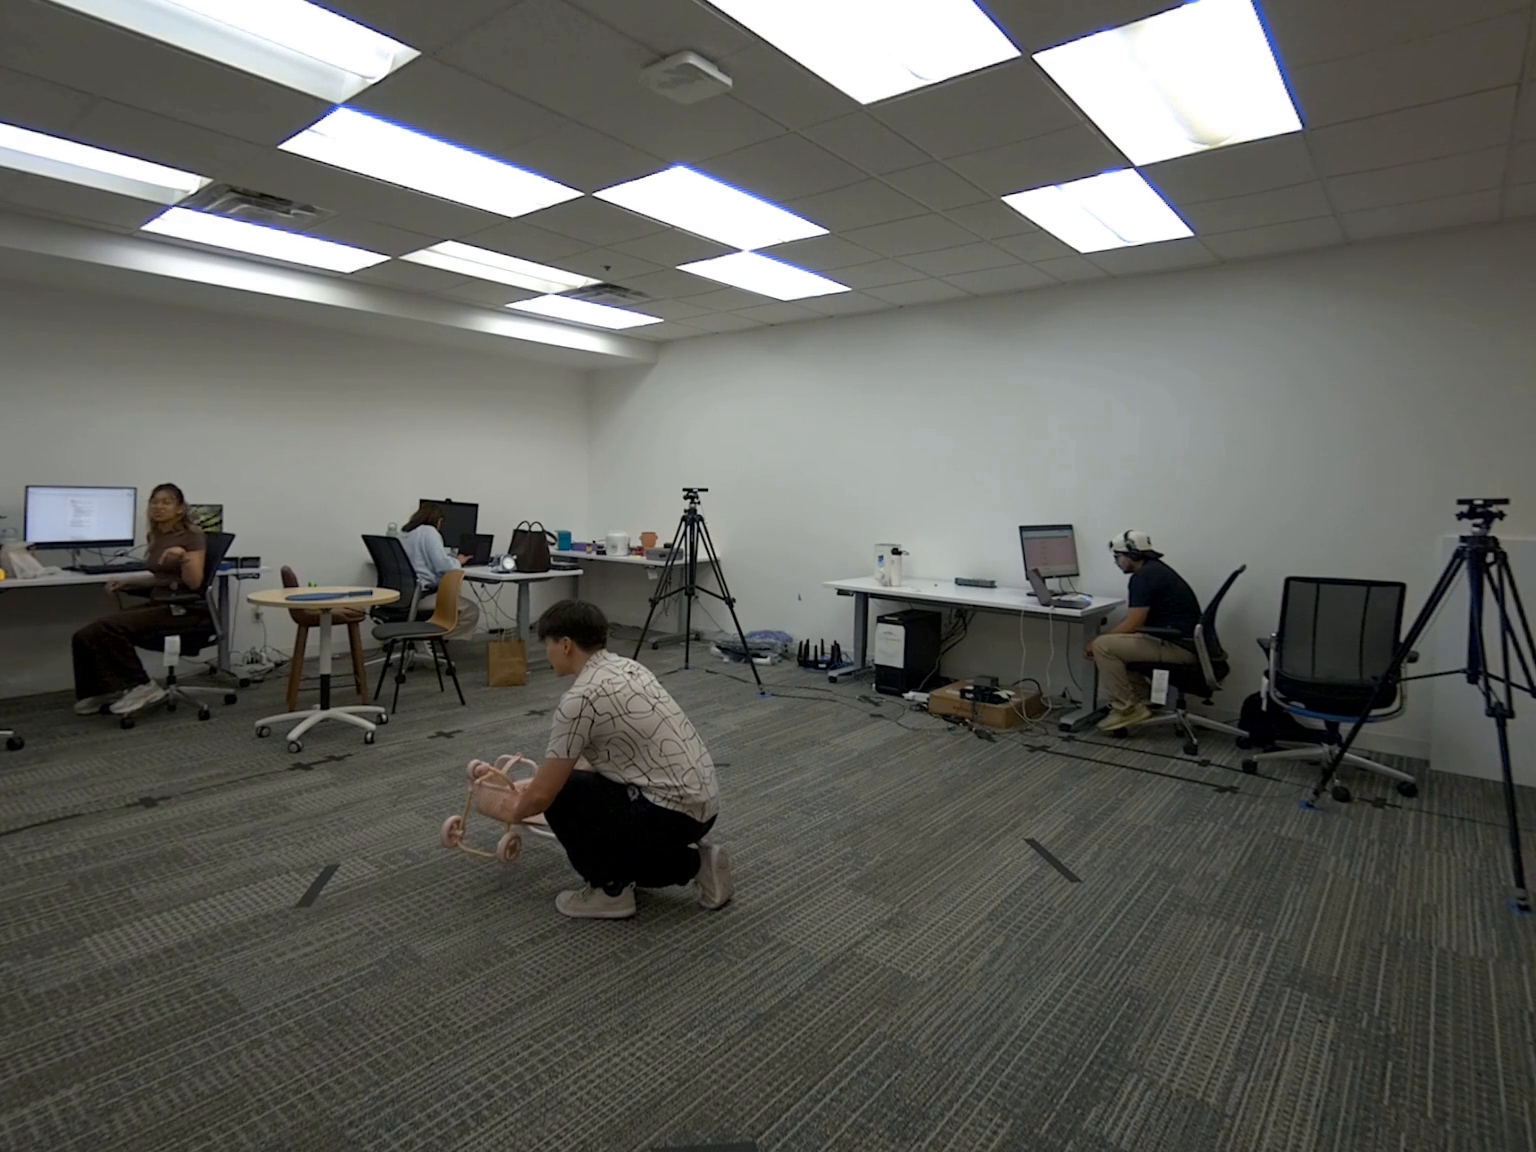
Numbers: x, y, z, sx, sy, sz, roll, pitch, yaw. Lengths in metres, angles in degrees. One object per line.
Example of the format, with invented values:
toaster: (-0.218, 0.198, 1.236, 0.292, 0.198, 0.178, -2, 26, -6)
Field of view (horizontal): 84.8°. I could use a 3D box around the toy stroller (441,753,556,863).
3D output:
toy stroller: (-0.933, 0.806, 3.041, 0.288, 0.344, 0.519, 0, -7, 23)
